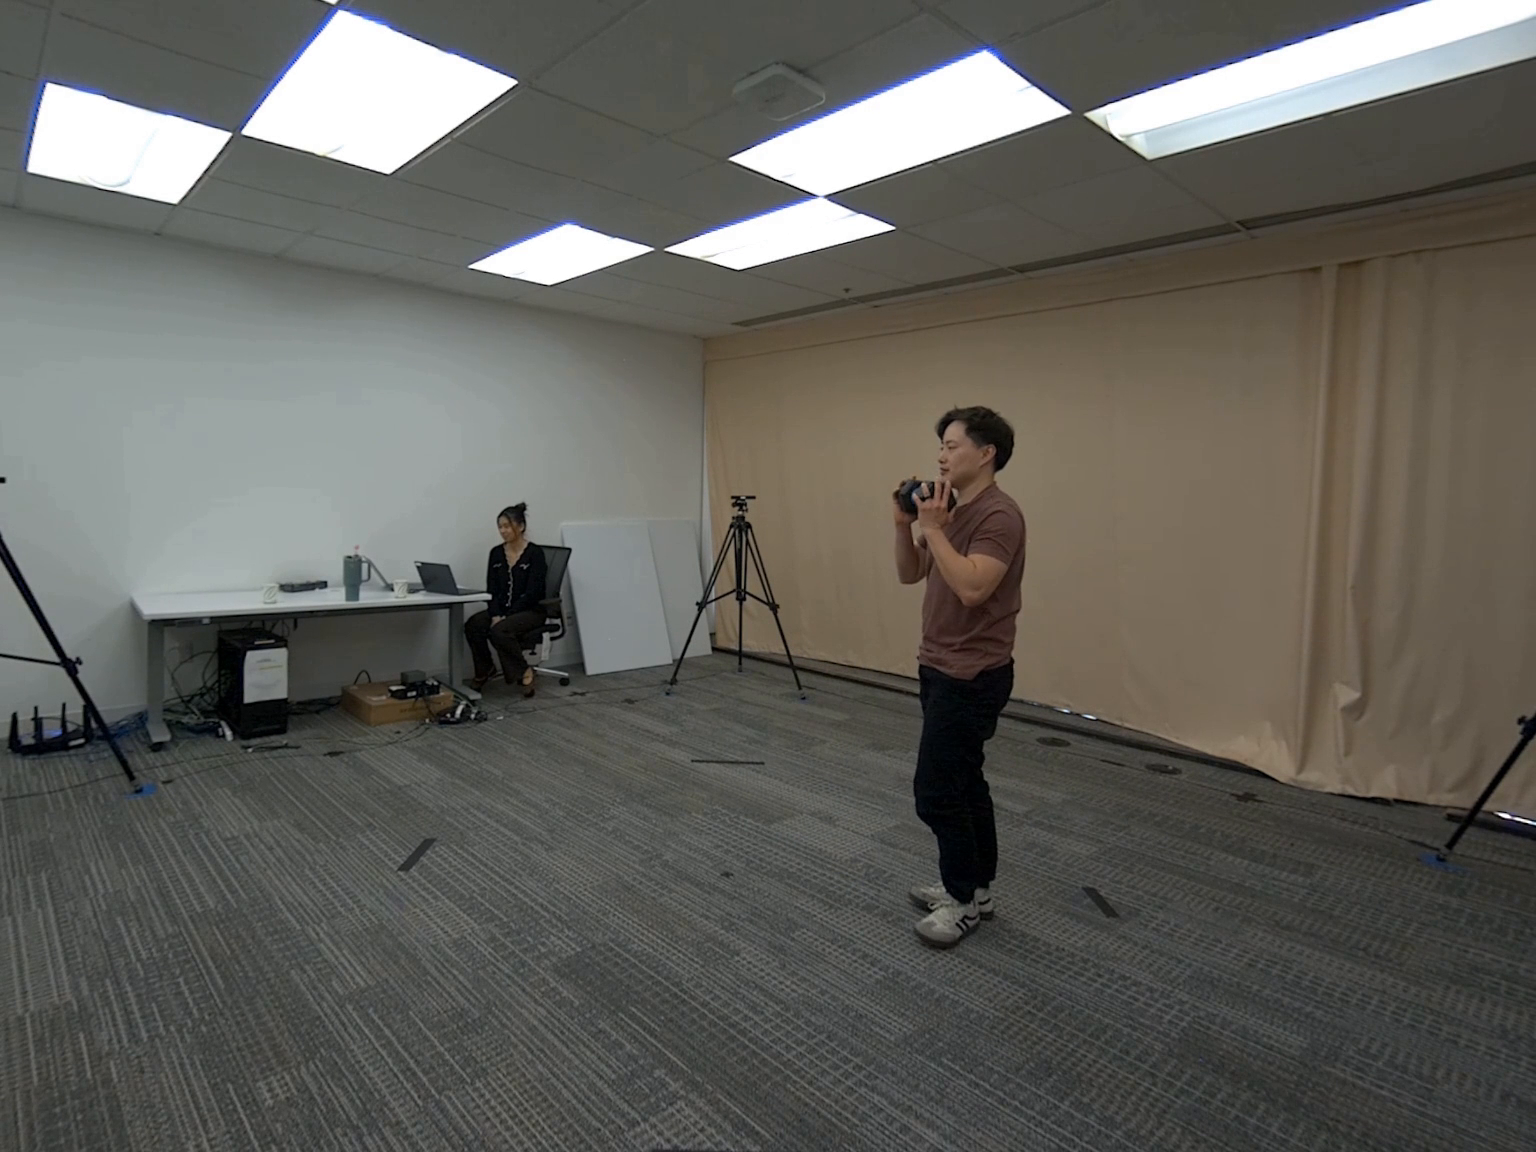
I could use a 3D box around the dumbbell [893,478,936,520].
[{"bbox_3d":[0.499,-0.246,2.686,0.122,0.108,0.296,11,6,-7],"label":"dumbbell"}]
